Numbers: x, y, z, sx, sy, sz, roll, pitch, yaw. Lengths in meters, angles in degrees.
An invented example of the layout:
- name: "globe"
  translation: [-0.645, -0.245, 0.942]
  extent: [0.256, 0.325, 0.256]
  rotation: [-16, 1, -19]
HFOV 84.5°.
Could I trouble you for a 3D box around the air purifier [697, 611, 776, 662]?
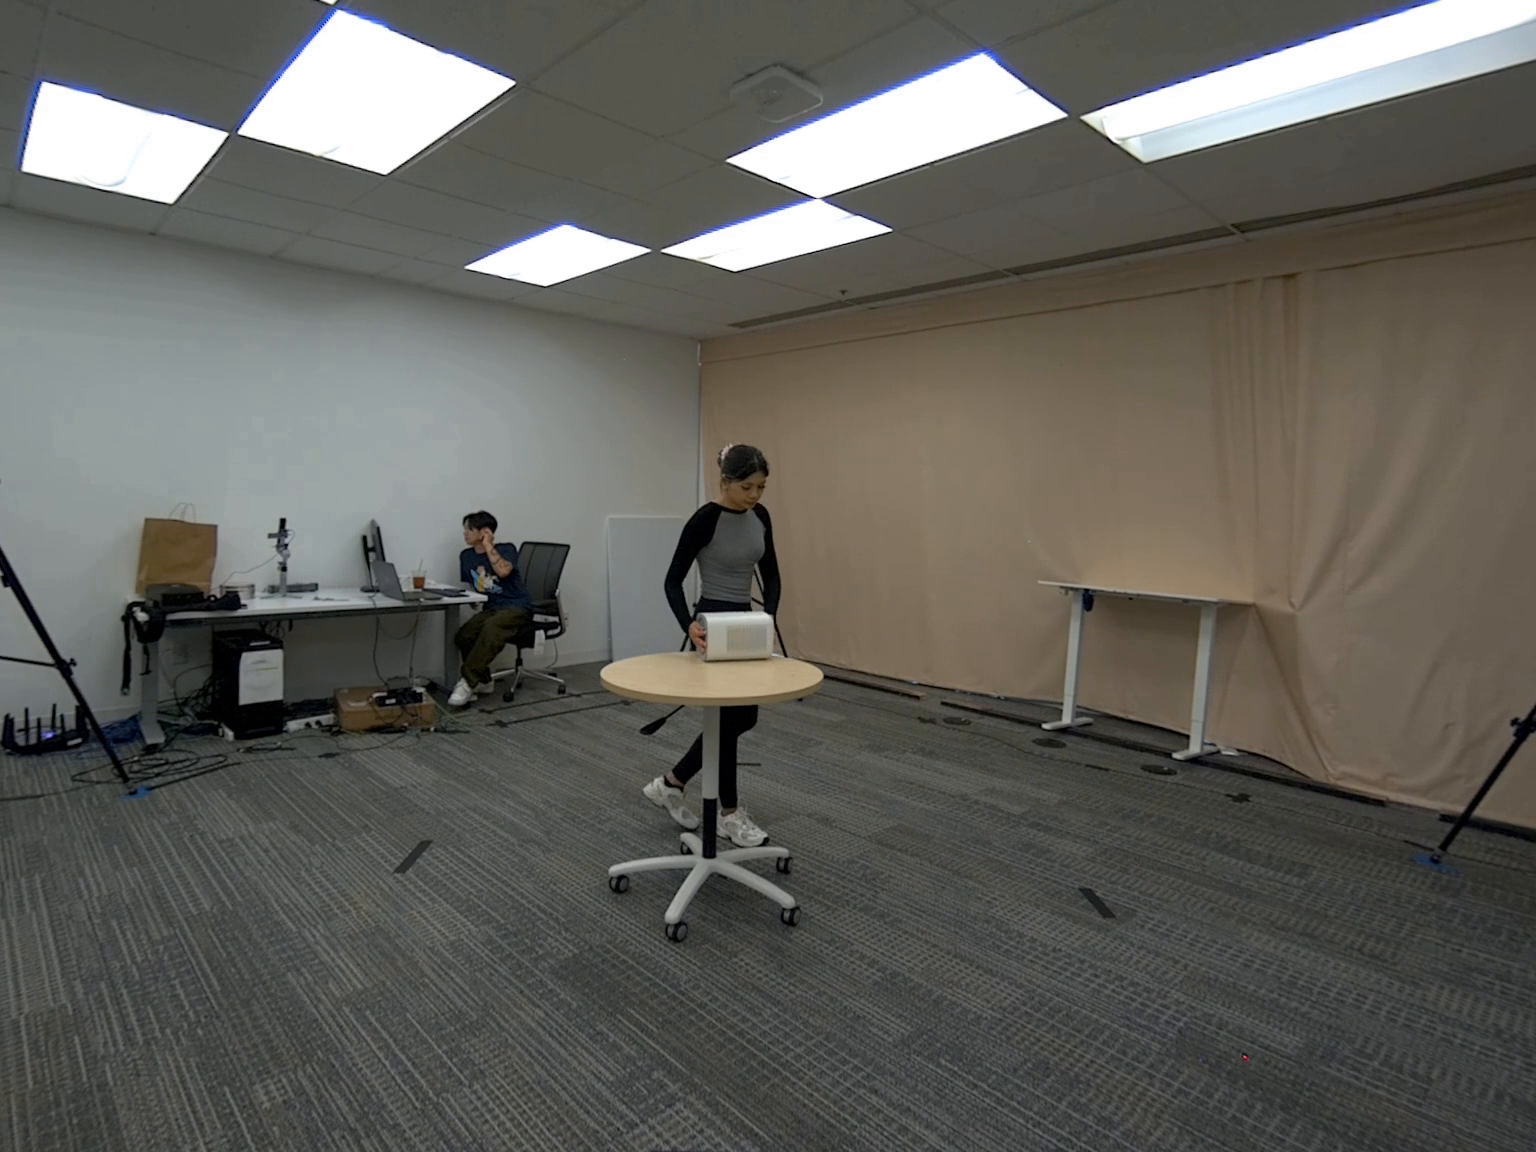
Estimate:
- name: "air purifier"
  translation: [-0.133, 0.223, 3.145]
  extent: [0.262, 0.171, 0.173]
  rotation: [0, 3, -15]
